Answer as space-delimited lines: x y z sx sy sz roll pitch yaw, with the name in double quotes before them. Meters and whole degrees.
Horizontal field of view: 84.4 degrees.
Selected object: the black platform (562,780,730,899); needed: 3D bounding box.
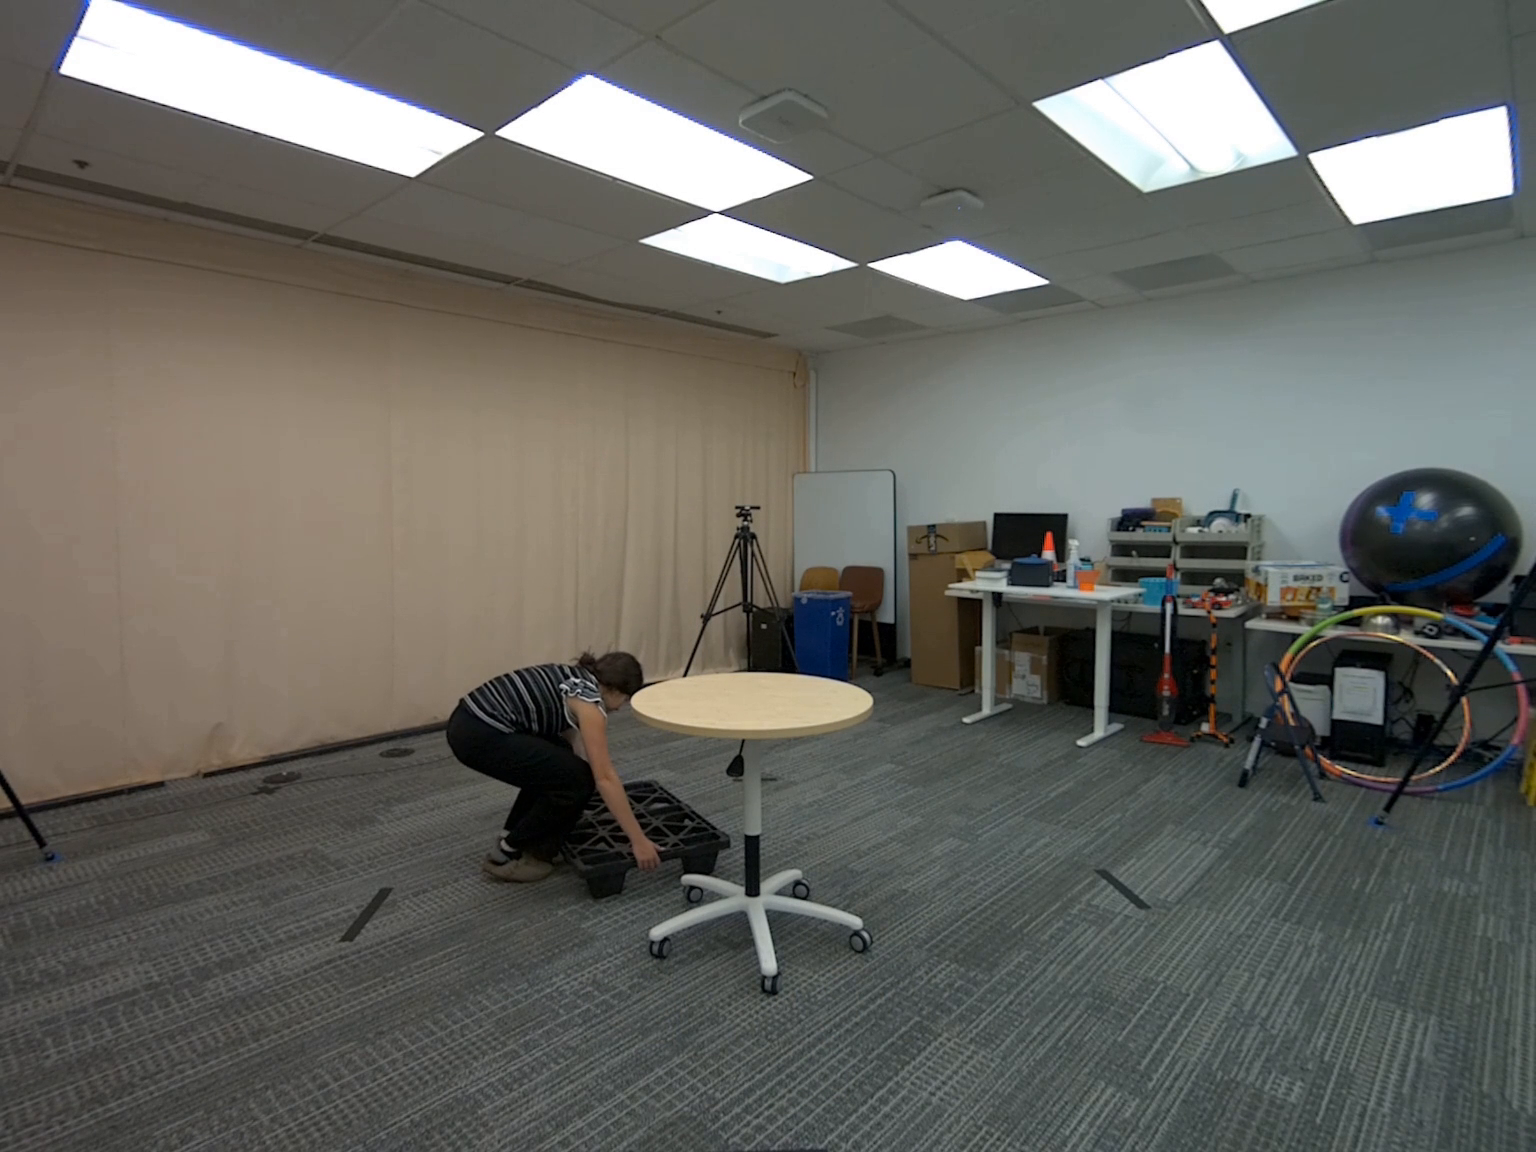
"black platform" -0.590 1.047 3.412 0.590 0.143 0.828 -3 5 -28
